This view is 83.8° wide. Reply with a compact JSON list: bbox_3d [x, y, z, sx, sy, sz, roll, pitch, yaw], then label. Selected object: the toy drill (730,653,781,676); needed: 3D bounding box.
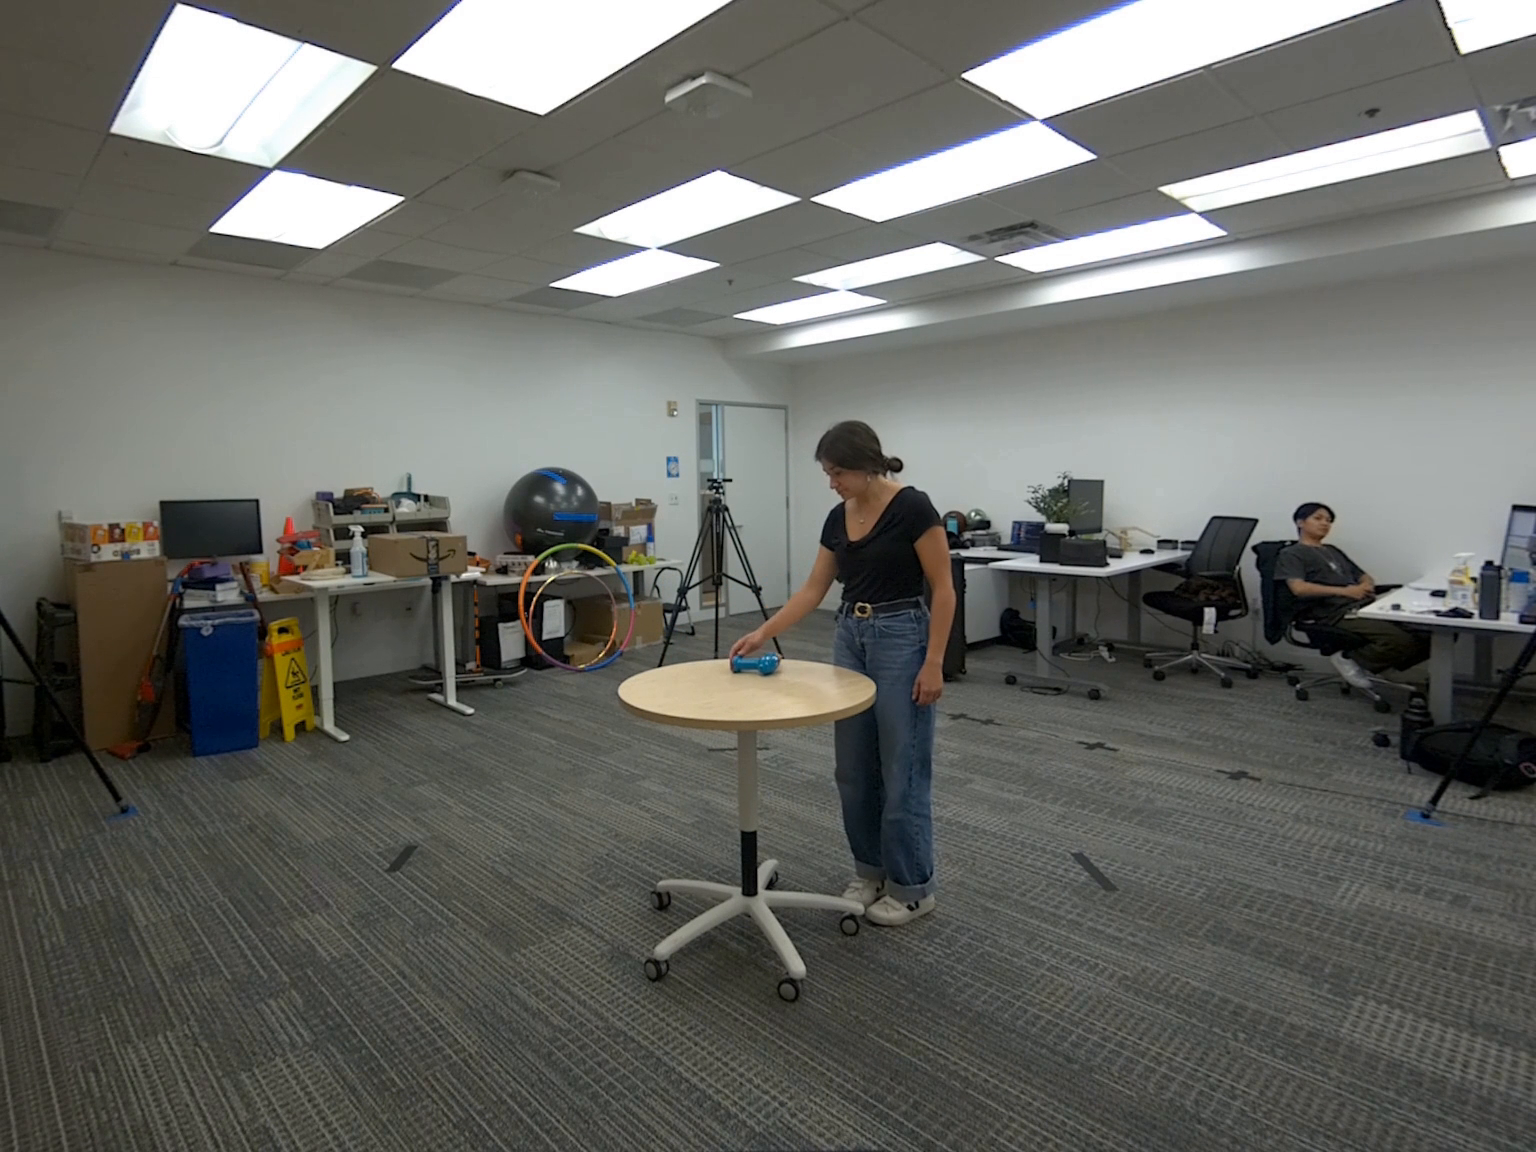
[{"bbox_3d":[-0.021,0.274,2.751,0.149,0.061,0.168,0,10,21],"label":"toy drill"}]
